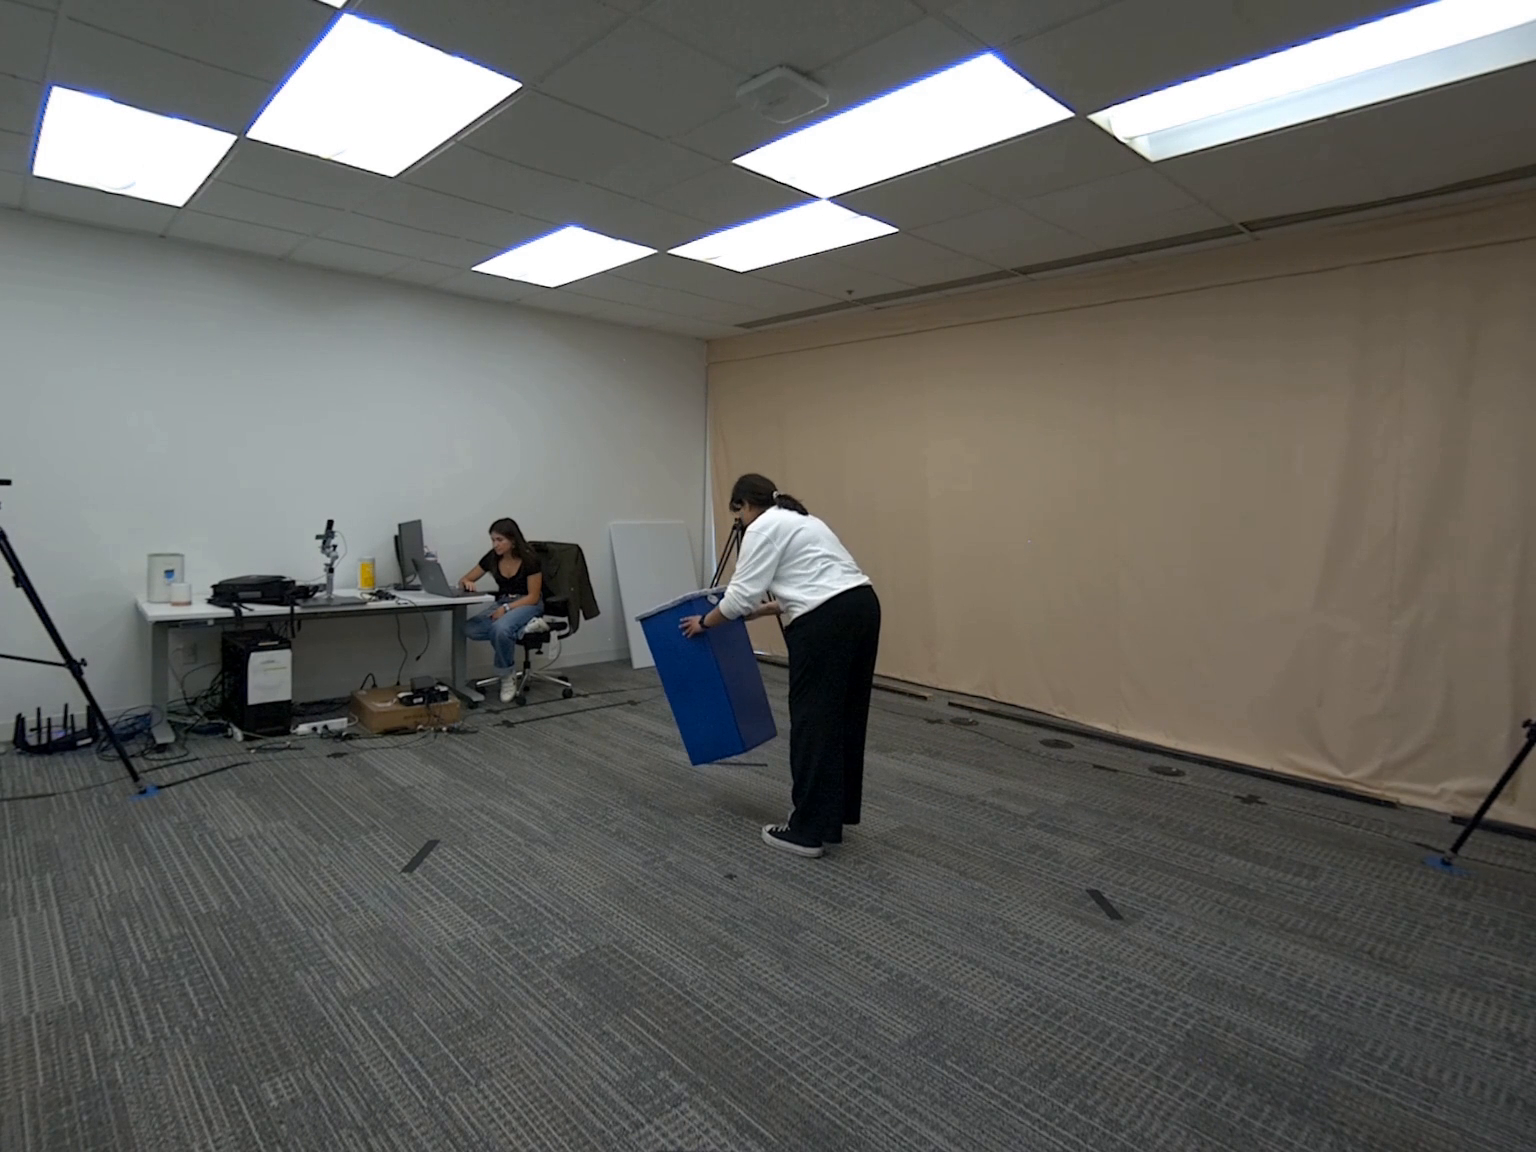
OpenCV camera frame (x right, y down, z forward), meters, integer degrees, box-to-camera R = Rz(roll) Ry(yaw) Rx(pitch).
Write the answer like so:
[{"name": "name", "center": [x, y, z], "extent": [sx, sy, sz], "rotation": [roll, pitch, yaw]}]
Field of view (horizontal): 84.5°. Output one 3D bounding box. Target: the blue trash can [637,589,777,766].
[{"name": "blue trash can", "center": [-0.274, 0.446, 3.811], "extent": [0.378, 0.719, 0.371], "rotation": [-22, -8, 31]}]
